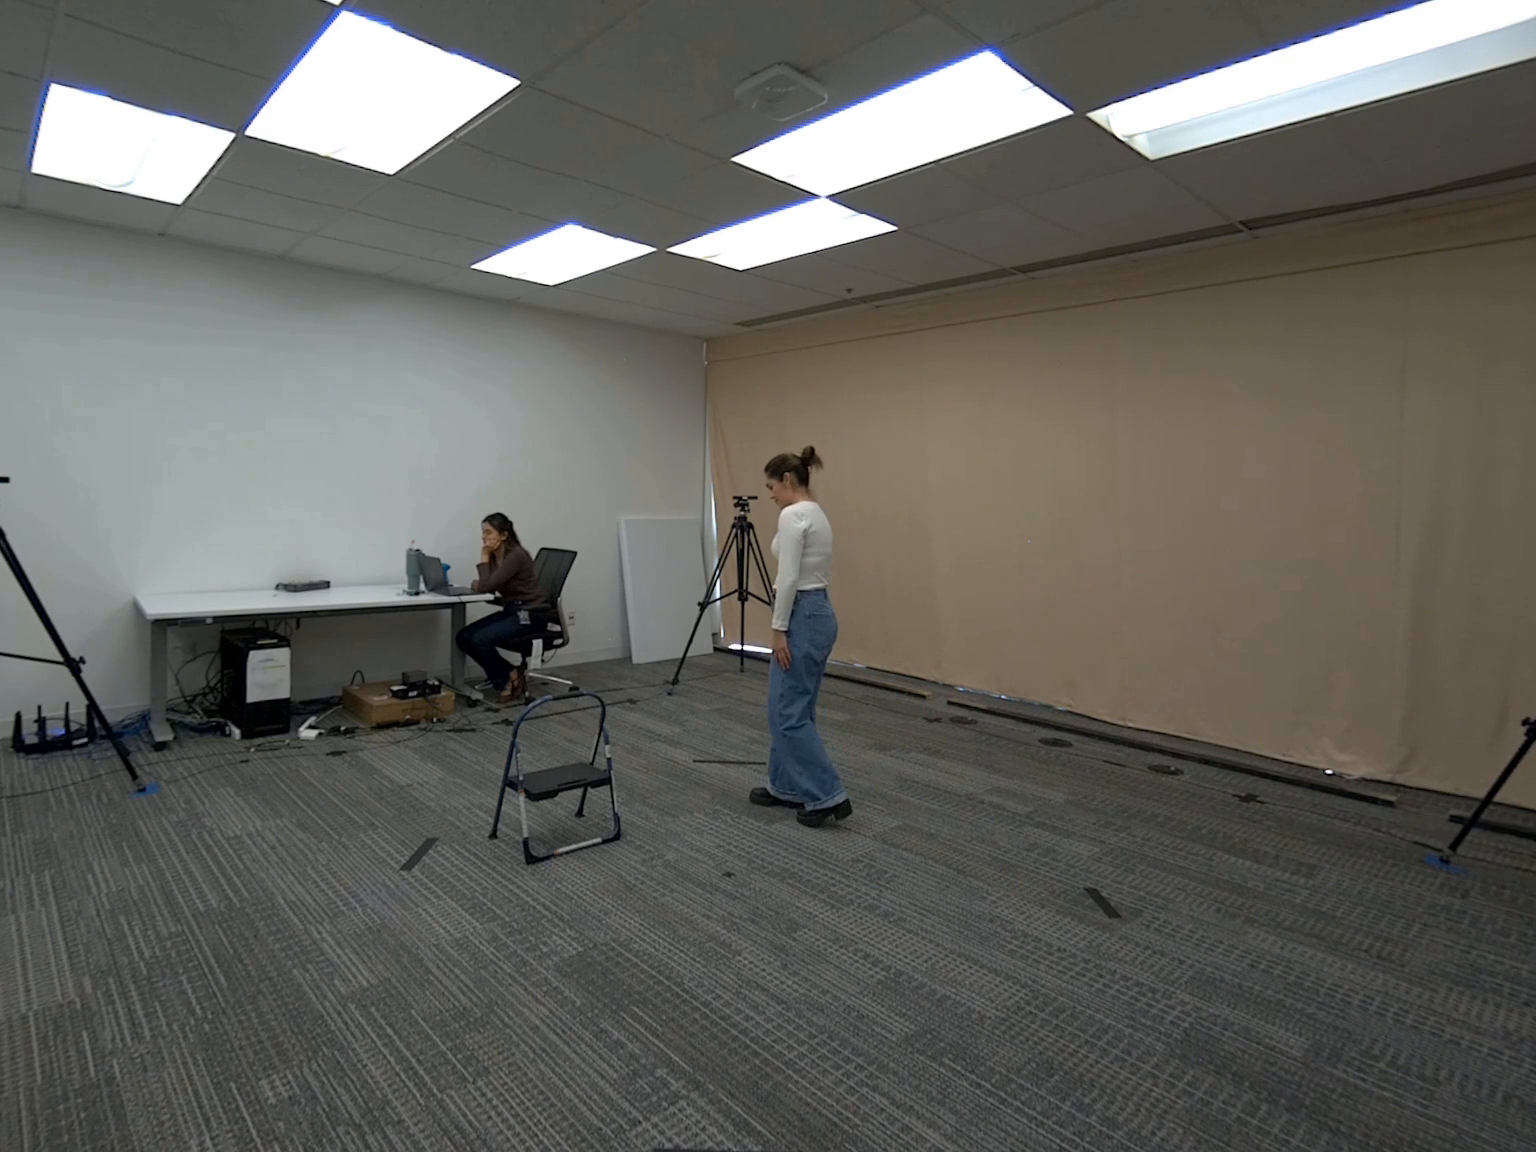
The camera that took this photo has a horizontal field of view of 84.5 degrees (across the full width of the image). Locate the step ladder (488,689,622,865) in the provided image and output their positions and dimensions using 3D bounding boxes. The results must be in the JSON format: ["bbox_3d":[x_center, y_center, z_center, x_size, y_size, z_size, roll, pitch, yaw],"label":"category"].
[{"bbox_3d":[-0.859,0.758,3.385,0.421,0.604,0.358,-3,5,-42],"label":"step ladder"}]
